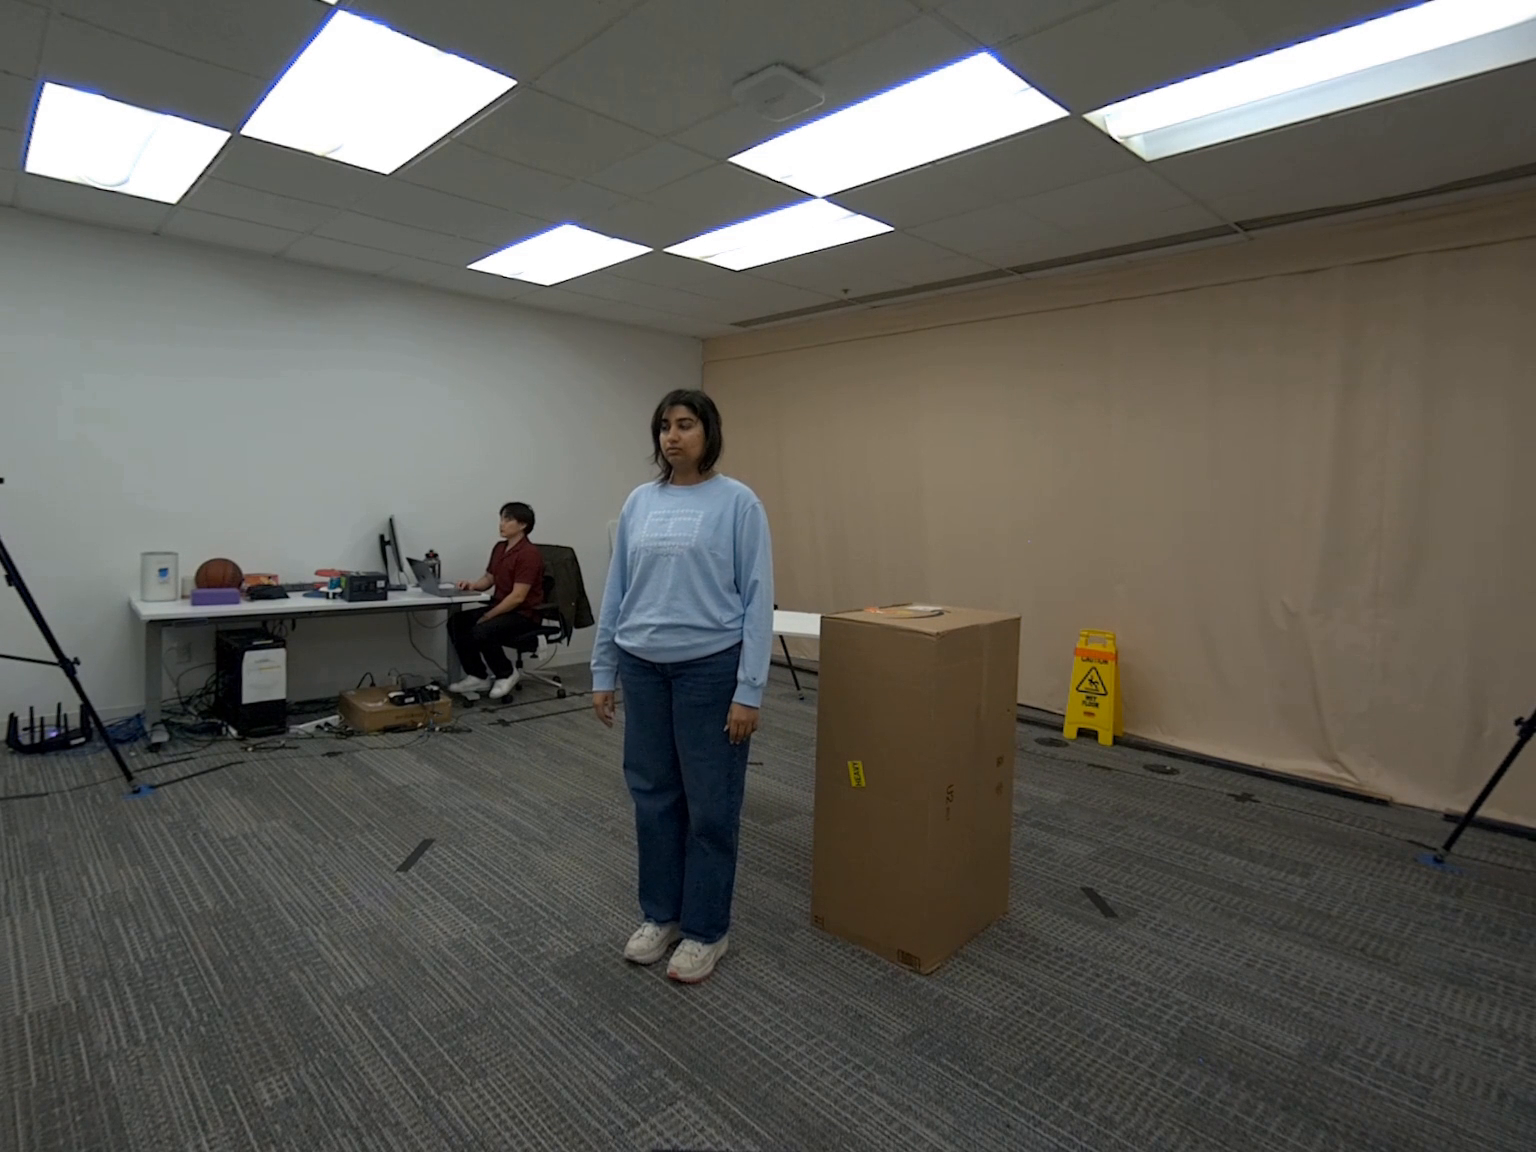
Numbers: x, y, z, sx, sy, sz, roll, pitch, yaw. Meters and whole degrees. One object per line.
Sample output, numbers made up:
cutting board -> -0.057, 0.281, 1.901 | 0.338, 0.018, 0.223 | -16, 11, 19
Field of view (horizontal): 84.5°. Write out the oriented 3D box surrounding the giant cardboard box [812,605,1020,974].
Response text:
giant cardboard box -> 0.489, 0.640, 2.799 | 0.437, 1.023, 0.564 | 5, 5, 41
